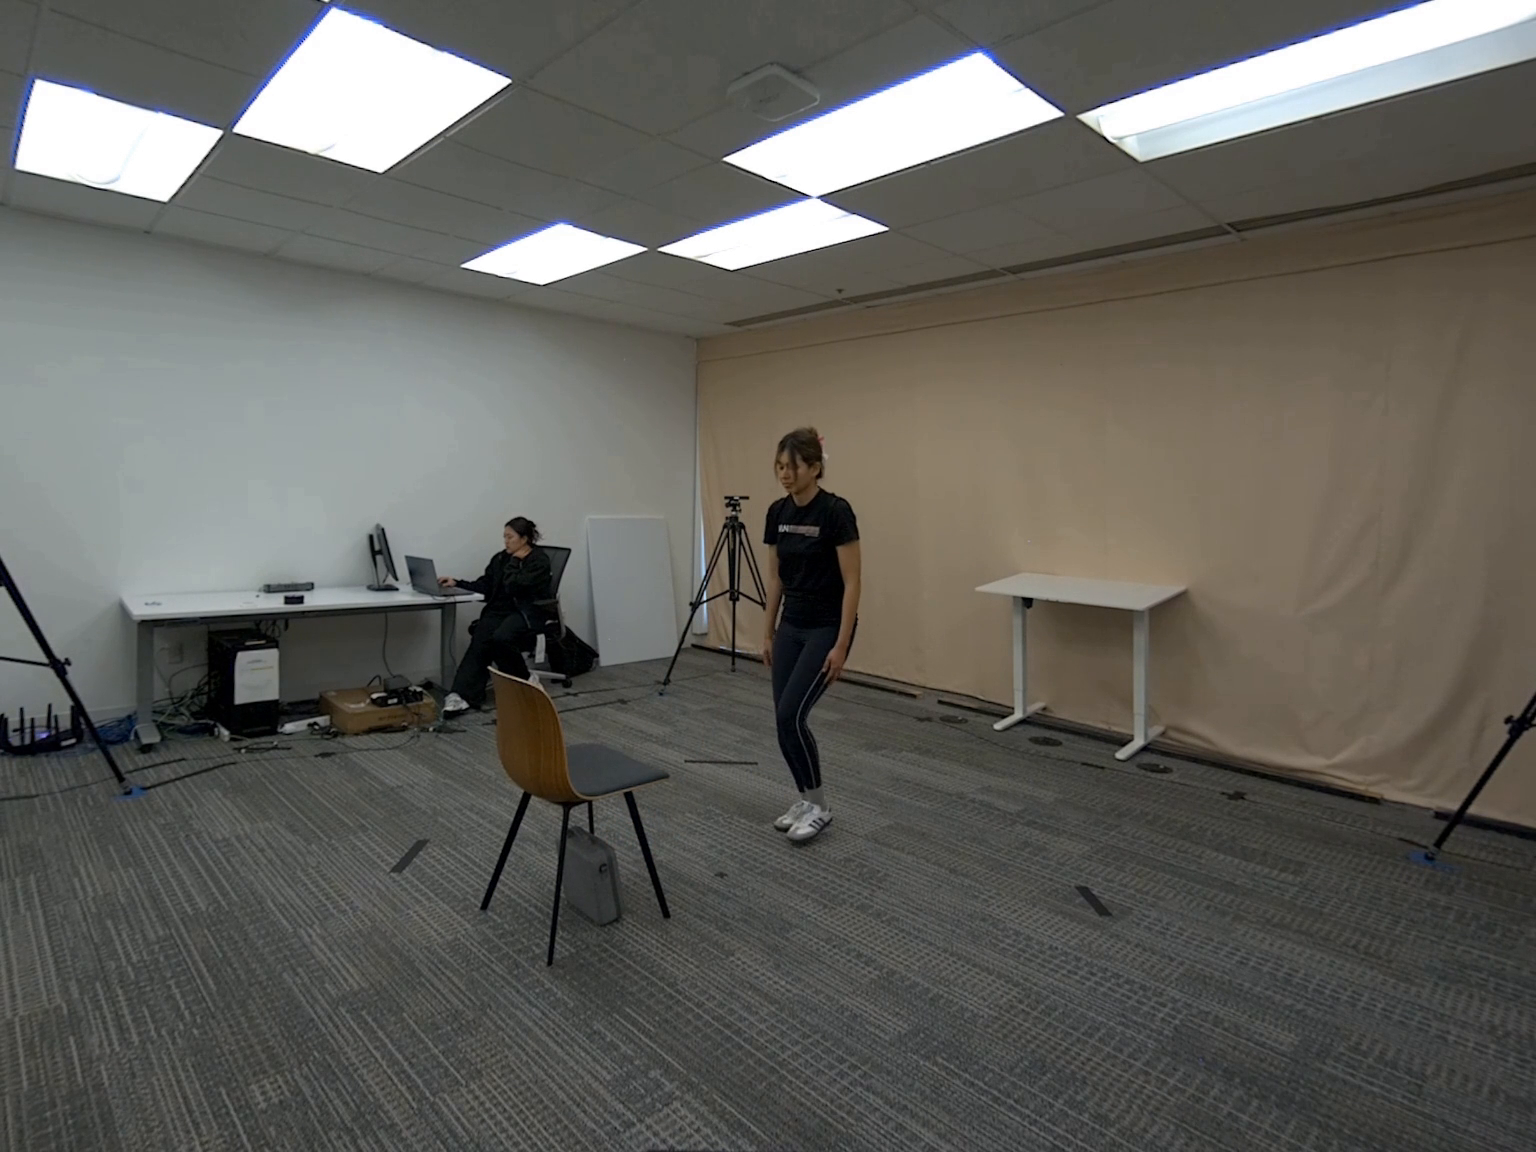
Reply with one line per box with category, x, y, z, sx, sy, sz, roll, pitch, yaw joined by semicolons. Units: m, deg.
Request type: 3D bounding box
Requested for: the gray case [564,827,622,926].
gray case;-0.600;0.996;2.795;0.102;0.258;0.263;-14;13;-38
